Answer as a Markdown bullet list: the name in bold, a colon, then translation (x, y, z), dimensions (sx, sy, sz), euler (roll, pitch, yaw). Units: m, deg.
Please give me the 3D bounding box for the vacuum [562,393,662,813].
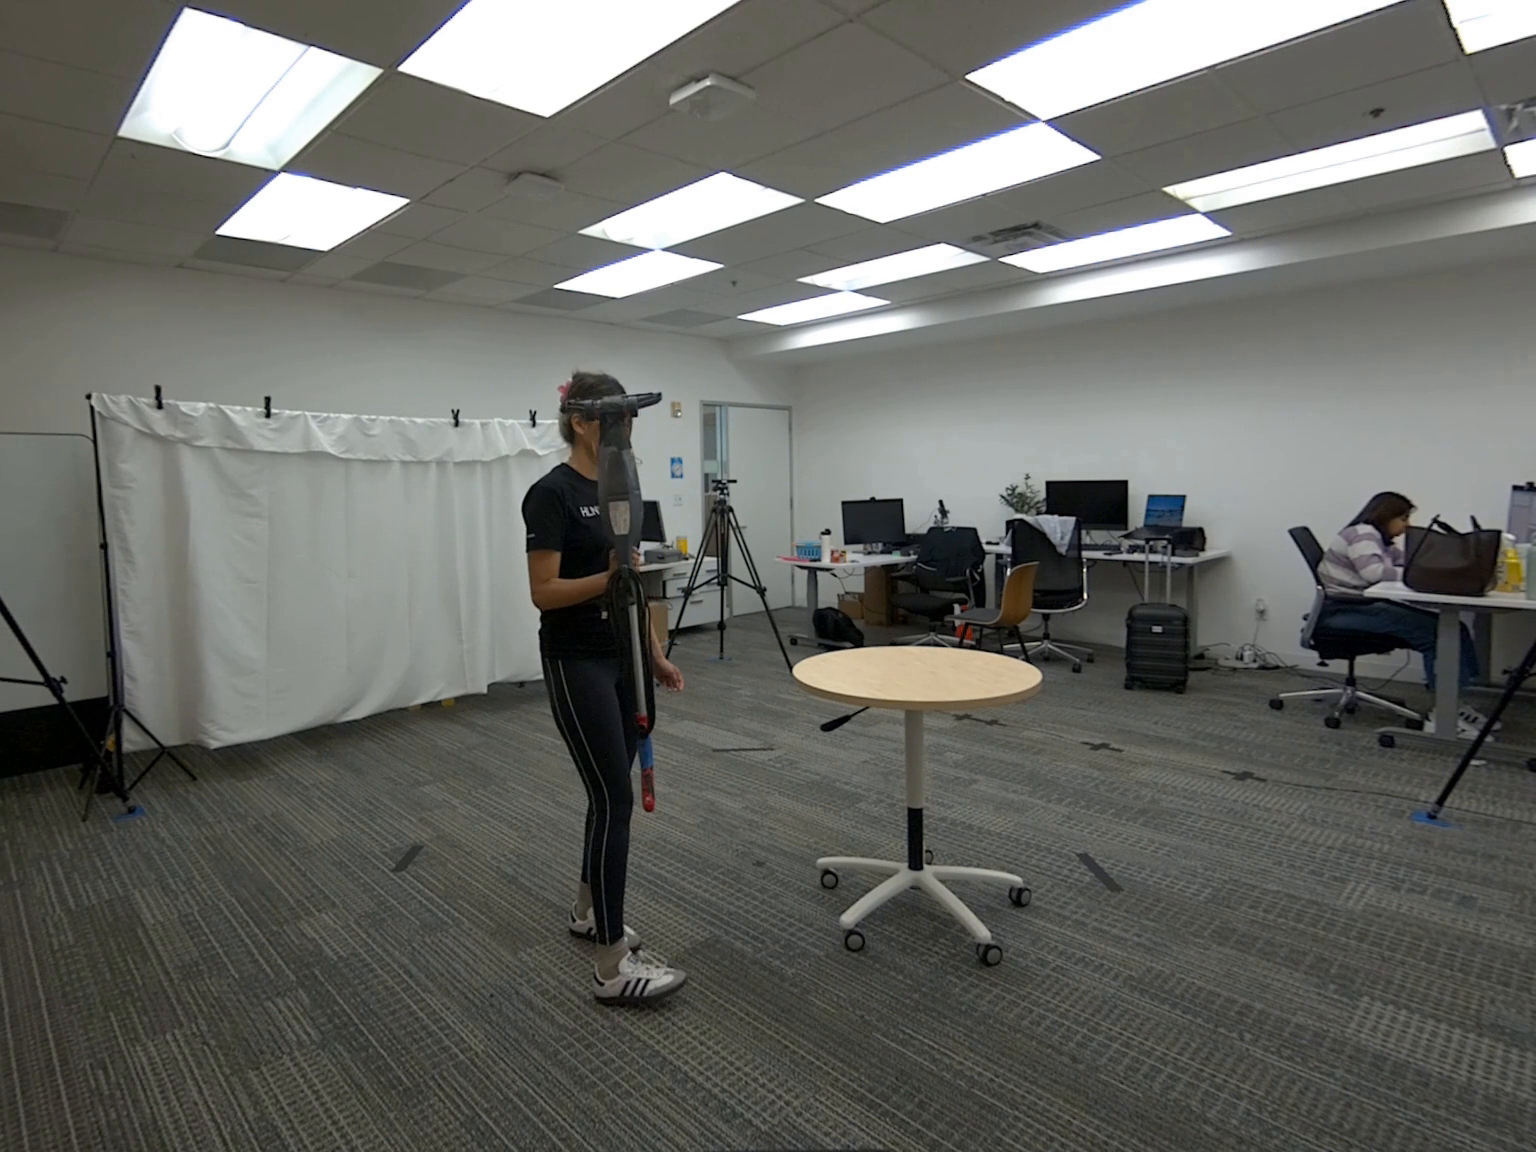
- **vacuum**: translation (-0.346, 0.066, 2.165), dimensions (0.253, 1.053, 0.143), euler (-6, -3, 3)
